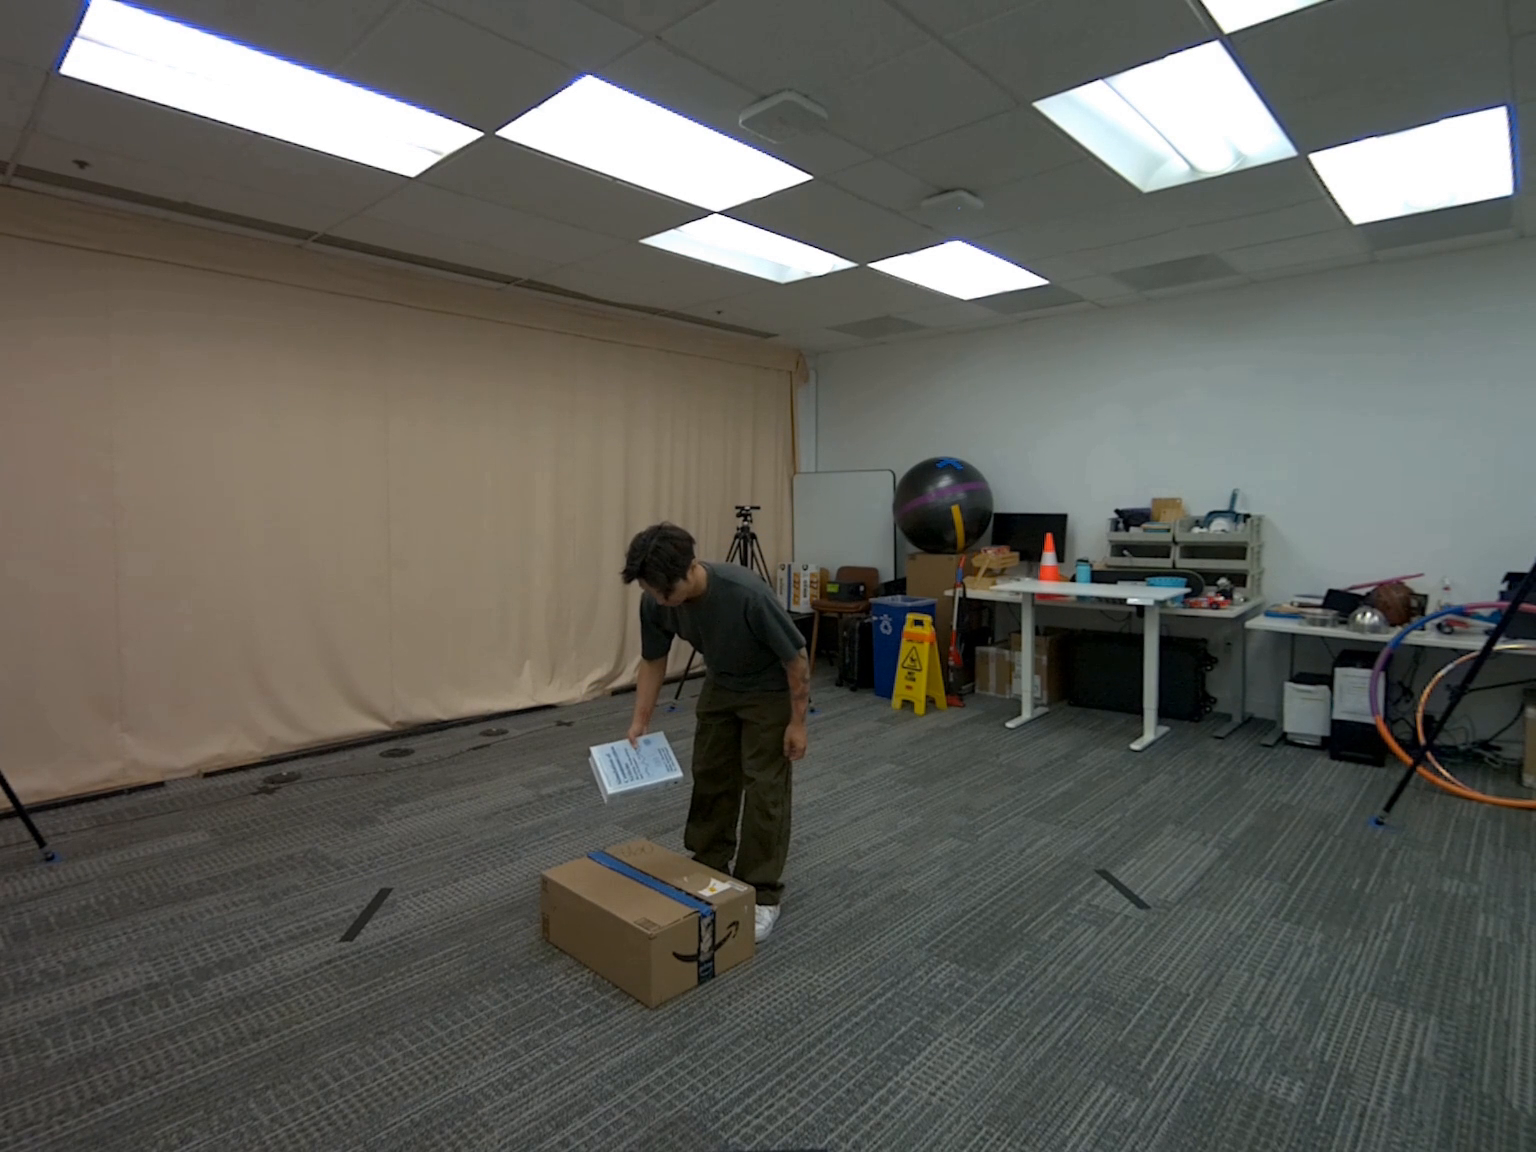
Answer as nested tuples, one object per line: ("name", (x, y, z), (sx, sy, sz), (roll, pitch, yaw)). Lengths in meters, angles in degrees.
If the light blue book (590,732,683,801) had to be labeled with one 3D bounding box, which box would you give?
("light blue book", (-0.431, 0.636, 2.767), (0.255, 0.058, 0.197), (-6, 42, -24))
